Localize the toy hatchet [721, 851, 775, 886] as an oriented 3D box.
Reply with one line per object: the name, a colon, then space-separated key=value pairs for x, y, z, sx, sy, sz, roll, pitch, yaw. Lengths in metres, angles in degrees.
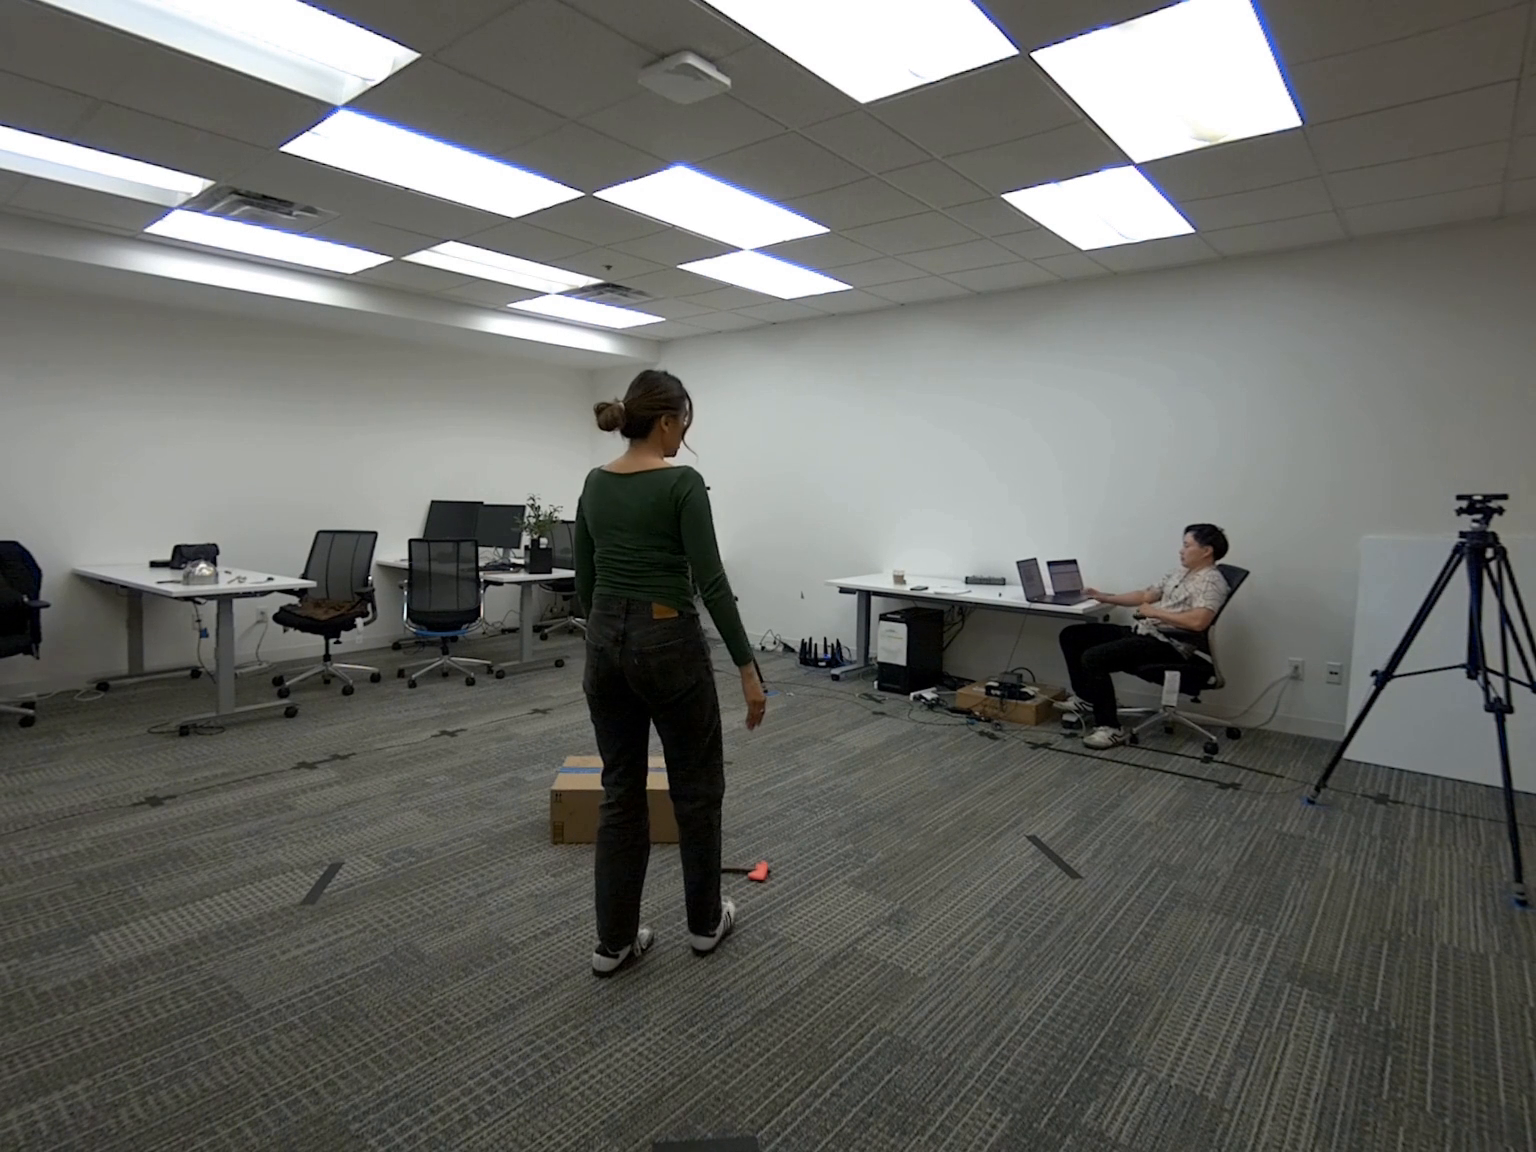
toy hatchet: x=-0.129 y=1.058 z=3.035 sx=0.266 sy=0.029 sz=0.134 roll=-3 pitch=10 yaw=-15
